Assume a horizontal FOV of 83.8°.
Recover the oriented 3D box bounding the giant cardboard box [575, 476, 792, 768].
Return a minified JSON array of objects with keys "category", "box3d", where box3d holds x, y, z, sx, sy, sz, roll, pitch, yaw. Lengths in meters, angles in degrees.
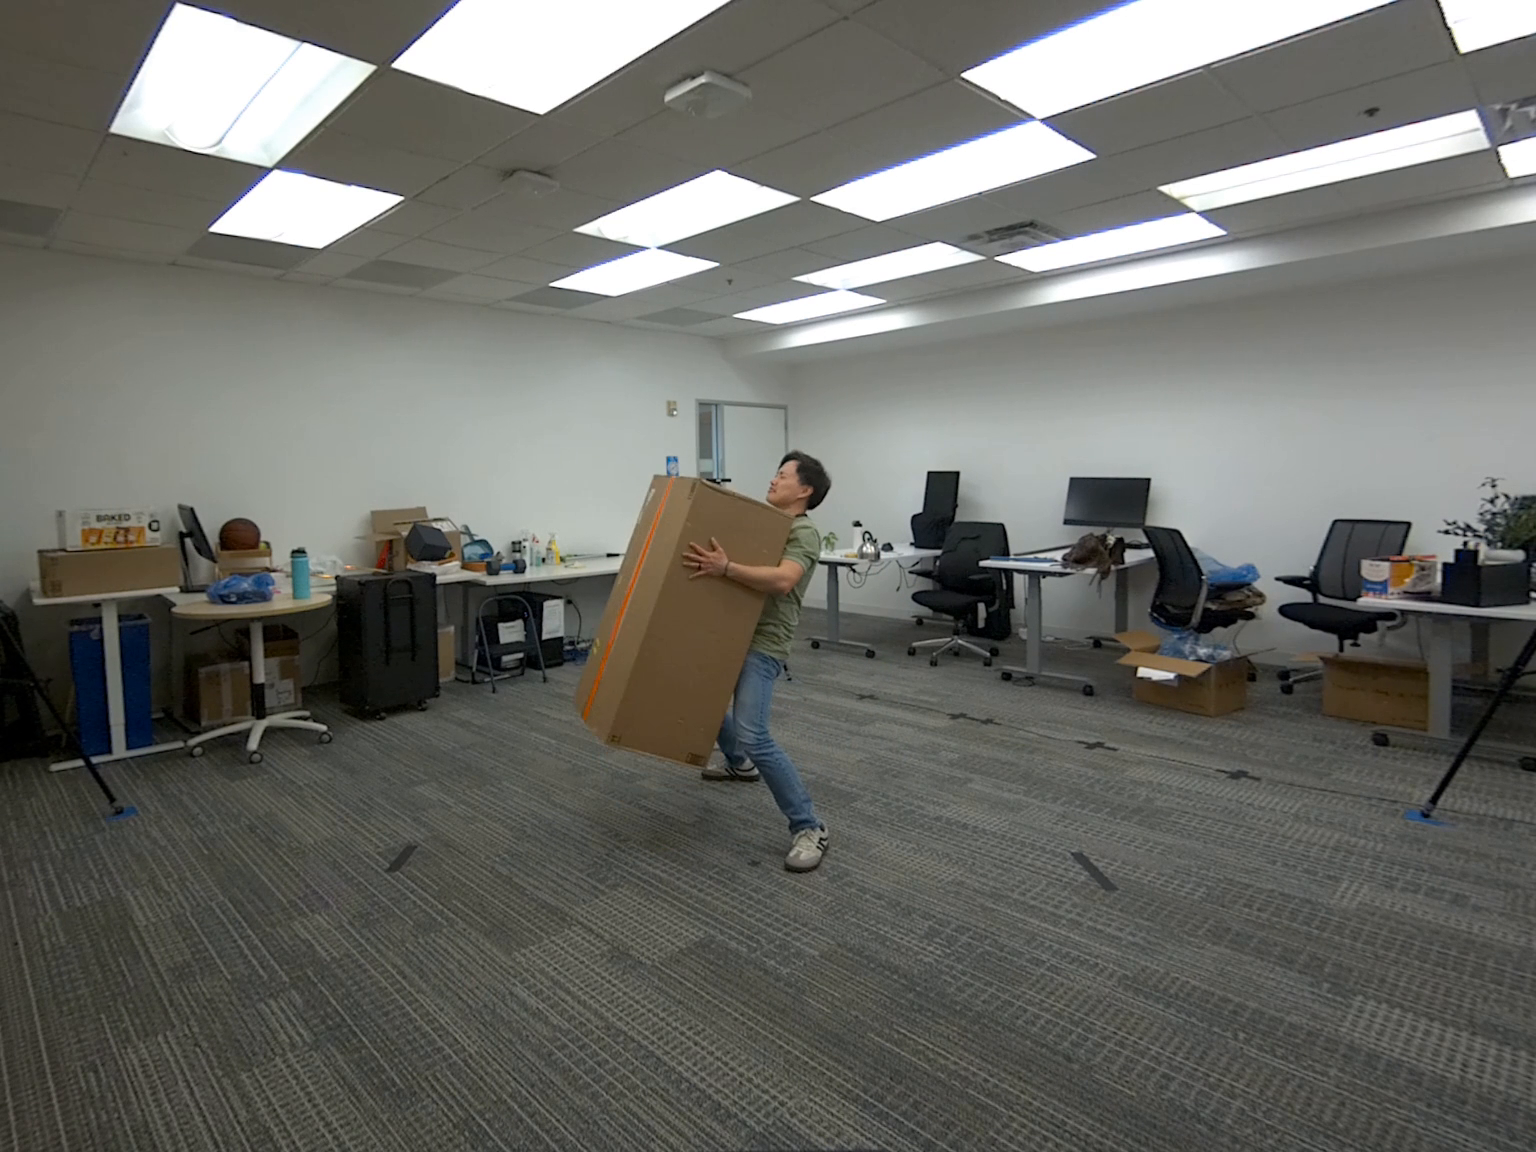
[{"category":"giant cardboard box","box3d":[-0.366,0.161,3.420,0.415,1.027,0.592,20,-2,-24]}]
